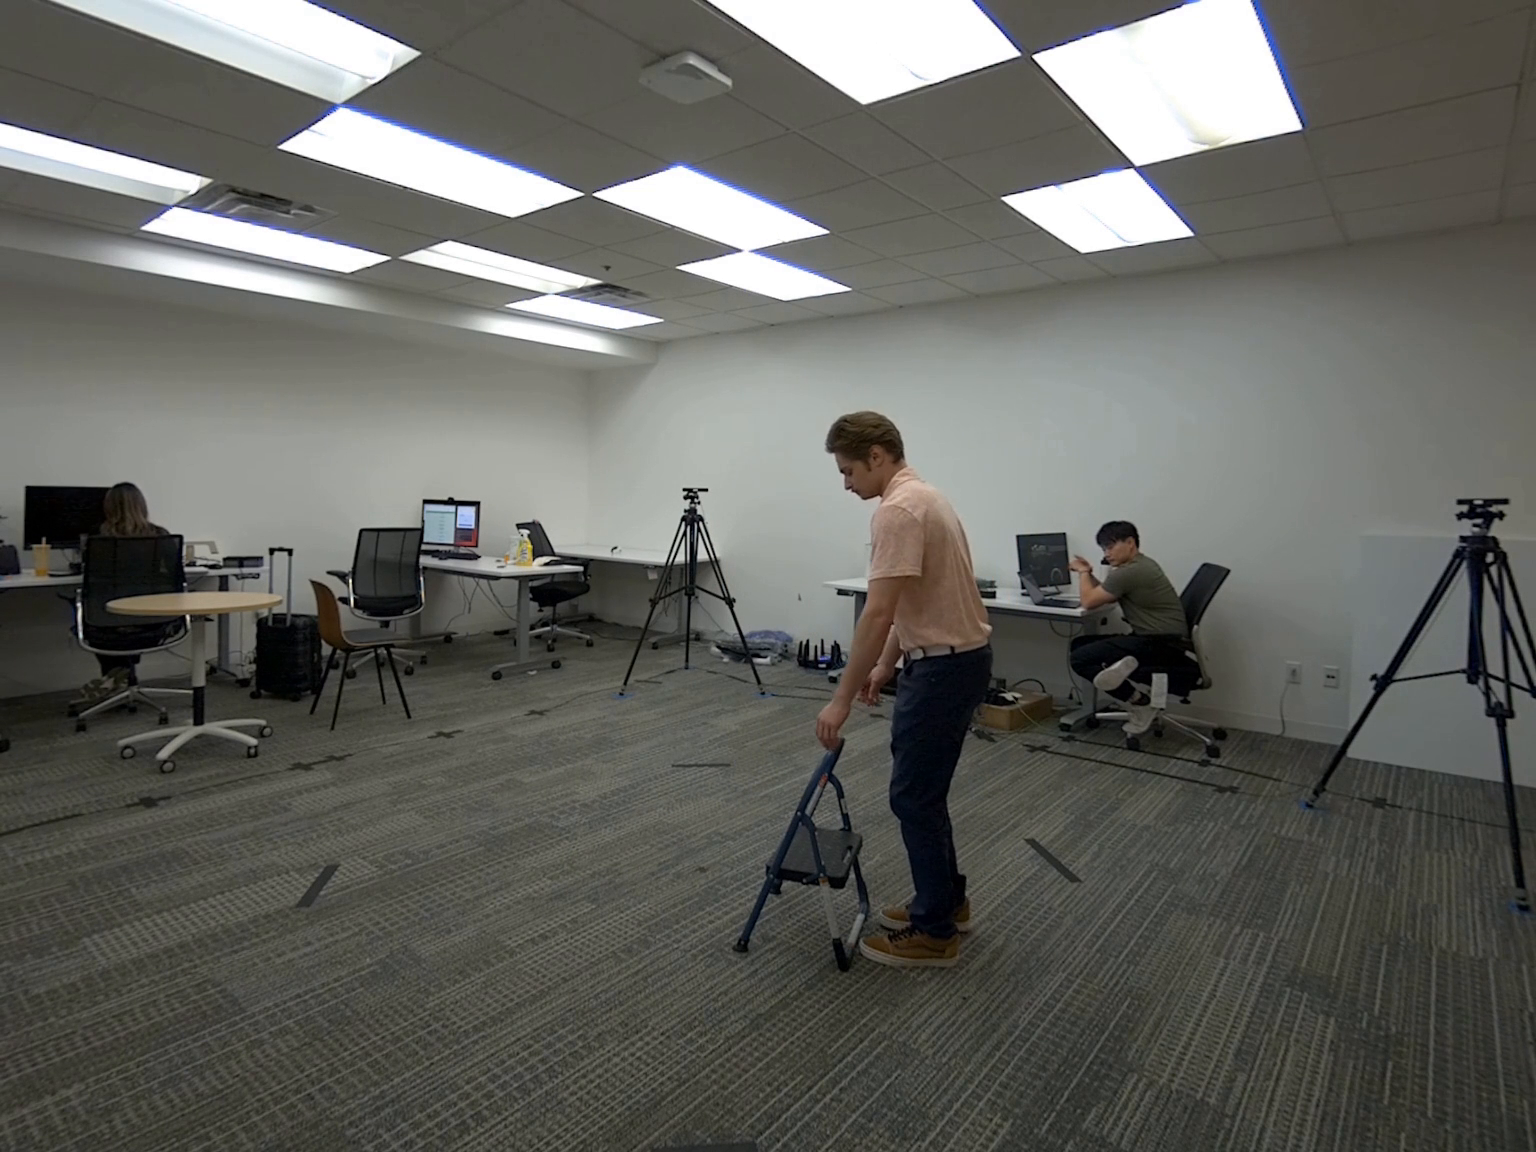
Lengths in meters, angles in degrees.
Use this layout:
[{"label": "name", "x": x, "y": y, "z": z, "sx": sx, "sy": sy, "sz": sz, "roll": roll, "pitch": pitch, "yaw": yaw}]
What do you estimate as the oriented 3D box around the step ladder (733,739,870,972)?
[{"label": "step ladder", "x": 0.122, "y": 0.819, "z": 2.690, "sx": 0.356, "sy": 0.604, "sz": 0.424, "roll": 2, "pitch": 4, "yaw": 17}]
